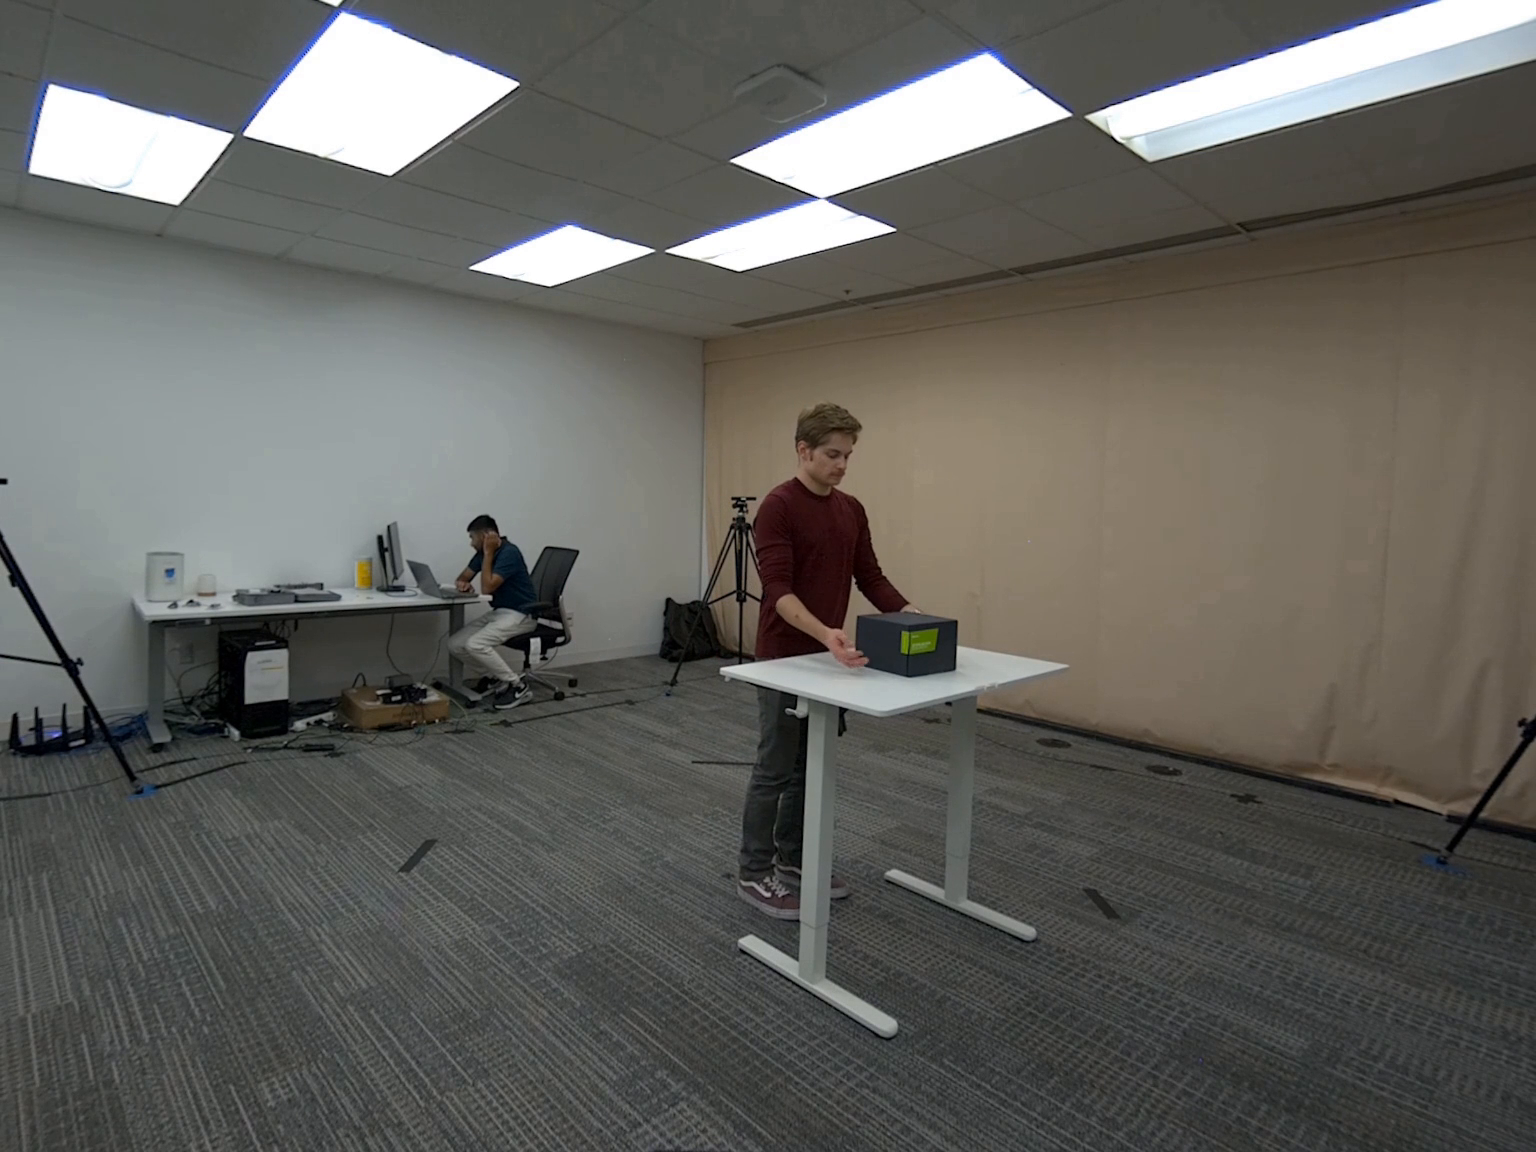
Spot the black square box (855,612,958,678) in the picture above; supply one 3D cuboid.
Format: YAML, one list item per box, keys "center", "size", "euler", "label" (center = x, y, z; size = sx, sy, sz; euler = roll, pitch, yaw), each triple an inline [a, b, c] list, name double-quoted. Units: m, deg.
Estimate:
- center: [0.424, 0.205, 2.596]
  size: [0.223, 0.155, 0.222]
  euler: [-1, 5, -38]
  label: "black square box"
